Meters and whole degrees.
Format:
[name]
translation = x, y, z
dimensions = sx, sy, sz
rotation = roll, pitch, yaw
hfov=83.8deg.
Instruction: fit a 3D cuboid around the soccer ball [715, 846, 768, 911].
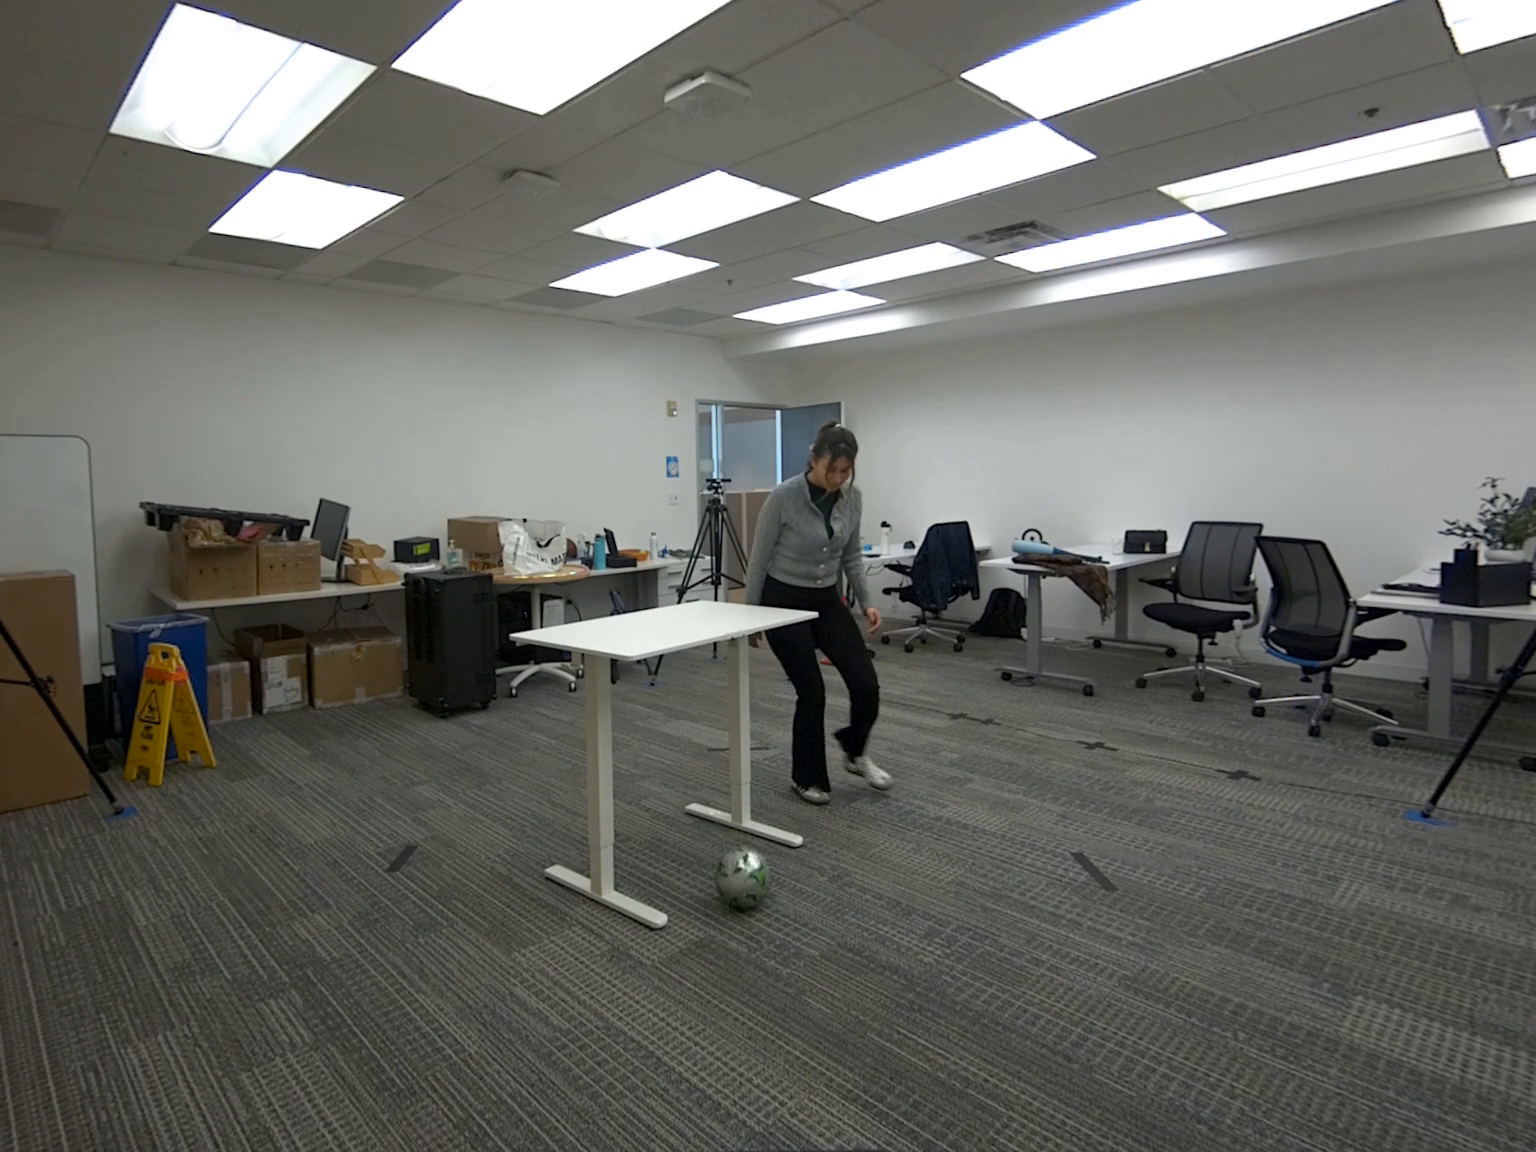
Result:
[soccer ball]
translation = -0.083, 0.985, 2.797
dimensions = 0.187, 0.187, 0.188
rotation = -1, 5, -2
